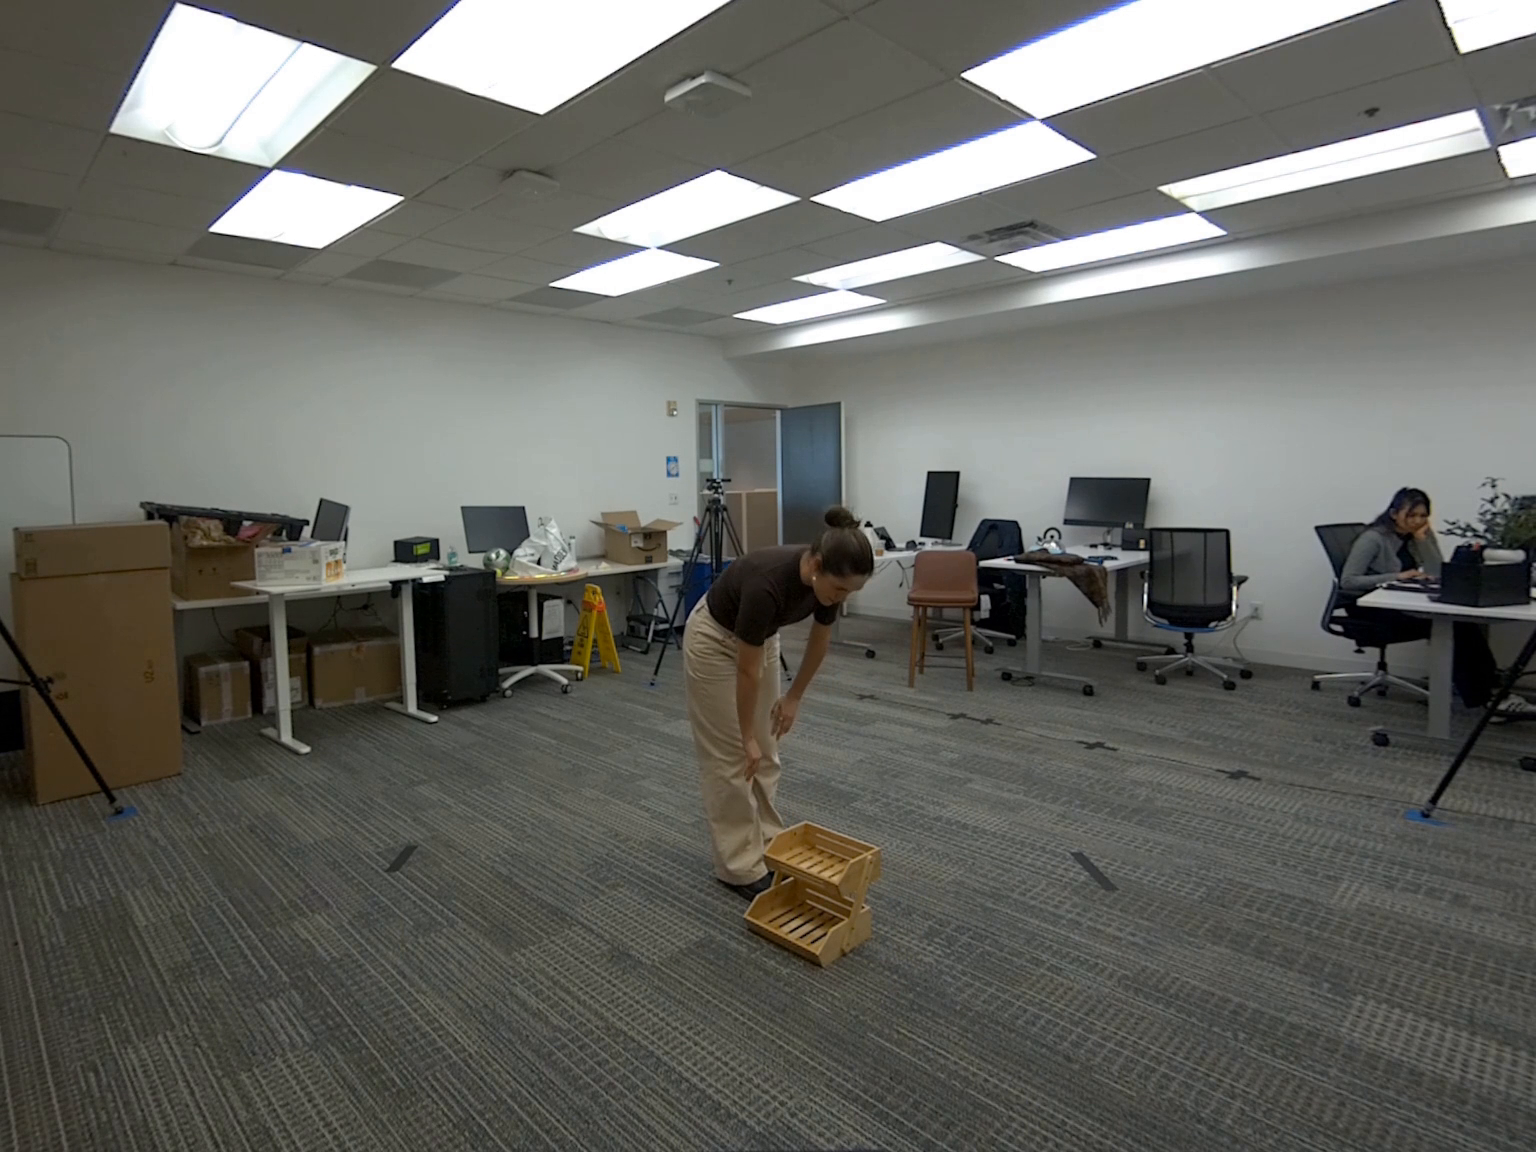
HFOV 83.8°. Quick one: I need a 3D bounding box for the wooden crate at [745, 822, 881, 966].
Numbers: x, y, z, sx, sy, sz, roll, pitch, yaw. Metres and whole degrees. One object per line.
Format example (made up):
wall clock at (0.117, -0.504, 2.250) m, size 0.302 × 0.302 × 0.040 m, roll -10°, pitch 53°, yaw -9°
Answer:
wooden crate at (0.139, 0.961, 2.626) m, size 0.334 × 0.272 × 0.294 m, roll 4°, pitch 6°, yaw 45°
